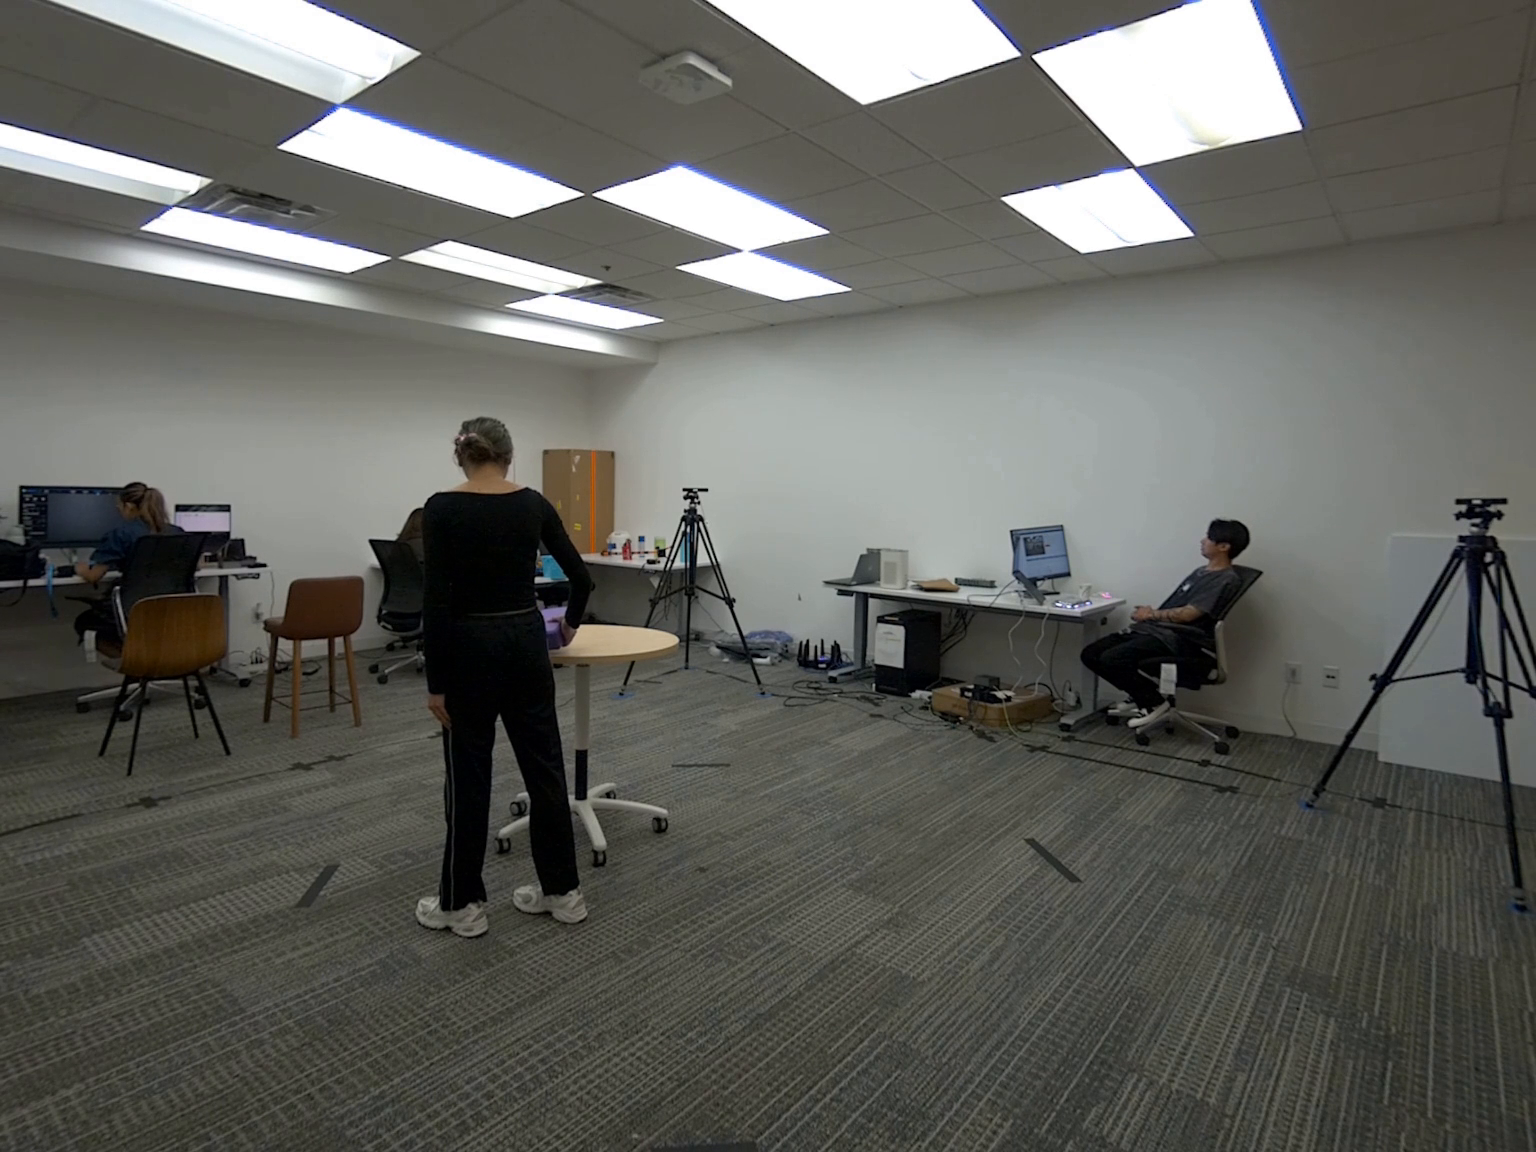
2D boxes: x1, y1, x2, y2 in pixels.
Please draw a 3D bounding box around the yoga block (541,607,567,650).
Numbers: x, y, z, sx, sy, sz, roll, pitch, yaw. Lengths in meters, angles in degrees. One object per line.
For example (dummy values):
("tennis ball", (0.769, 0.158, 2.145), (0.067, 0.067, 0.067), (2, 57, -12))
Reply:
("yoga block", (-0.796, 0.186, 3.104), (0.149, 0.075, 0.233), (-8, 16, 1))
